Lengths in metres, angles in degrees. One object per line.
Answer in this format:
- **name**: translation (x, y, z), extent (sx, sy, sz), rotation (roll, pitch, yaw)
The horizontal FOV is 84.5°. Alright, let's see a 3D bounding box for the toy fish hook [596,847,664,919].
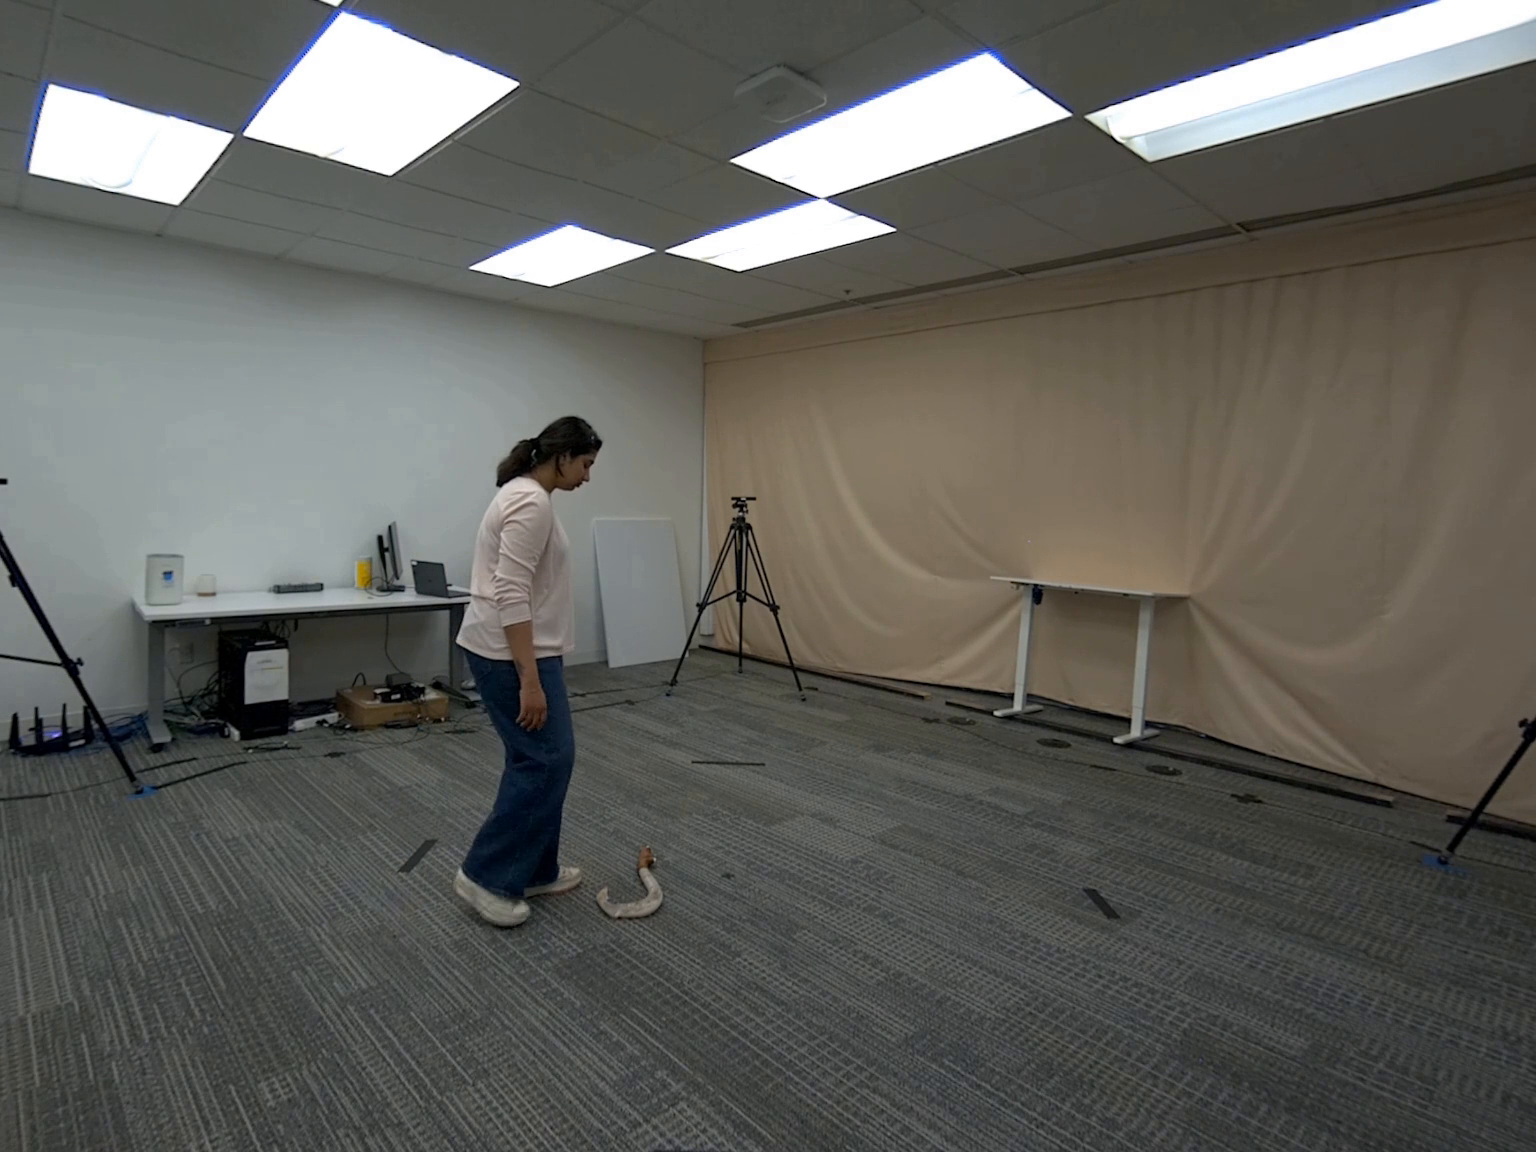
- **toy fish hook**: translation (-0.498, 1.085, 3.011), extent (0.223, 0.048, 0.511), rotation (2, 5, -8)
